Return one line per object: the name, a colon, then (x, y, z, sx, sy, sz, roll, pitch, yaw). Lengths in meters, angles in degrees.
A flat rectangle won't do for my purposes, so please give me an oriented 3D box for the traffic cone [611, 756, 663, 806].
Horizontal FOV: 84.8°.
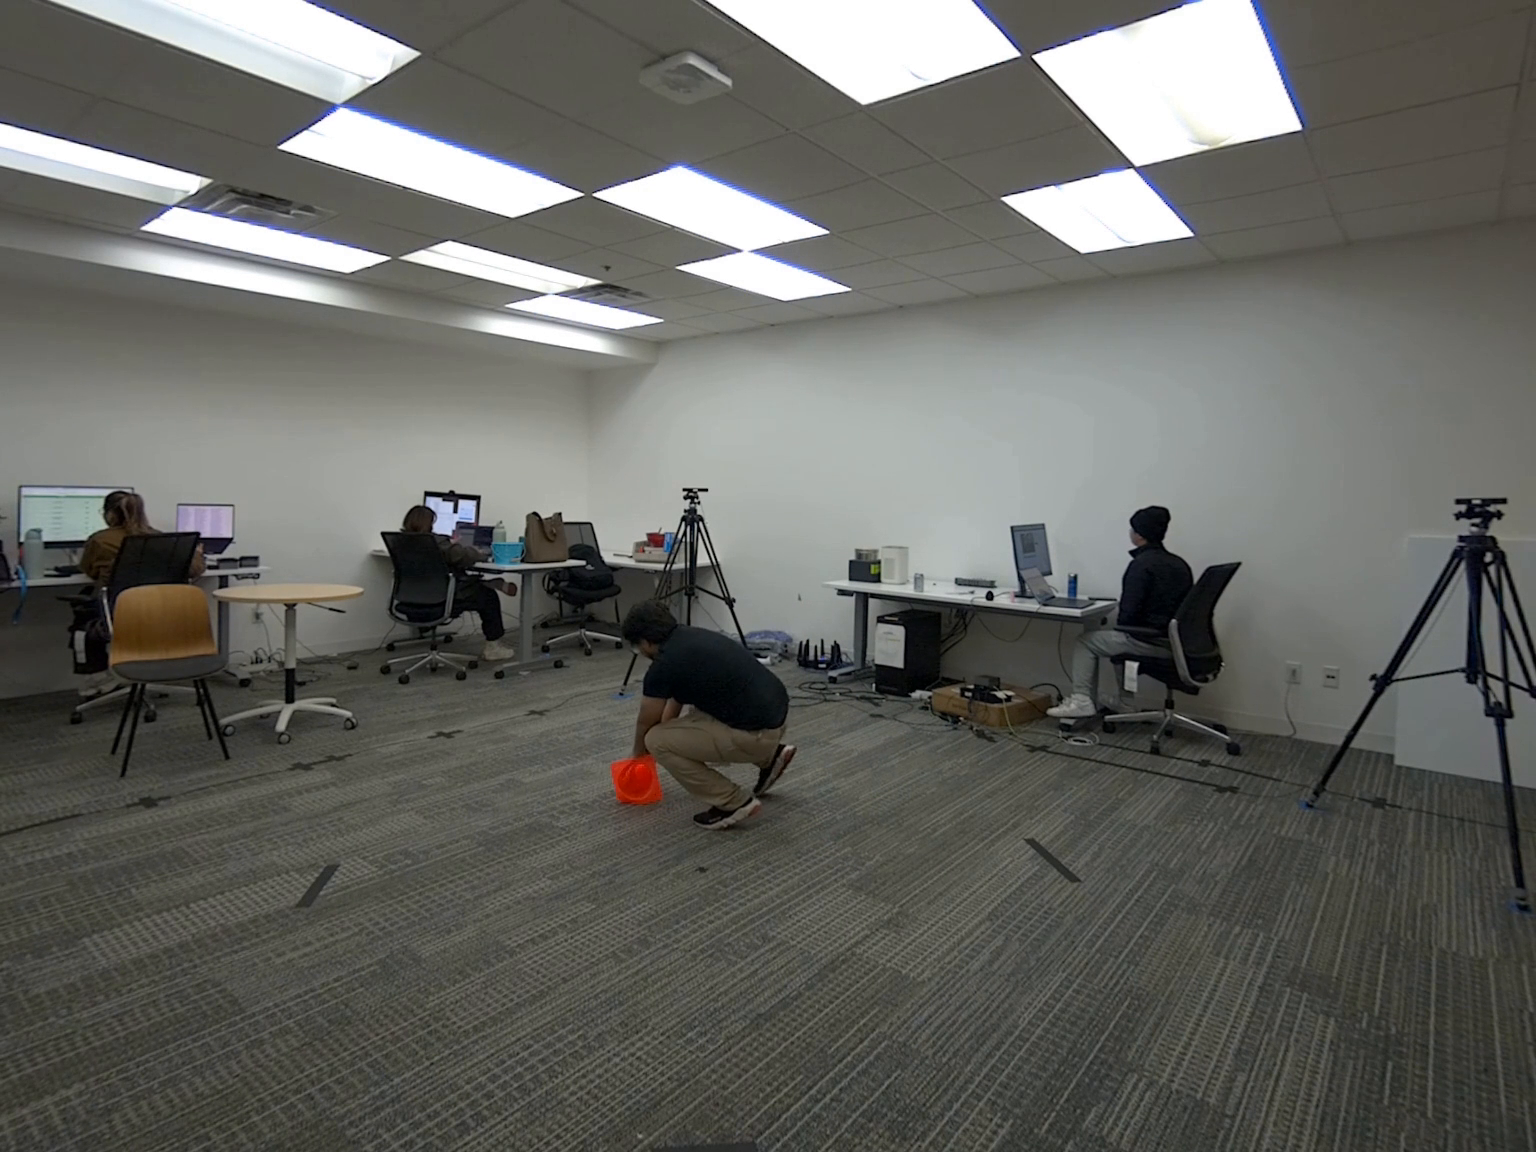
traffic cone: (-0.607, 0.908, 3.944, 0.205, 0.204, 0.383, -2, -1, -2)
